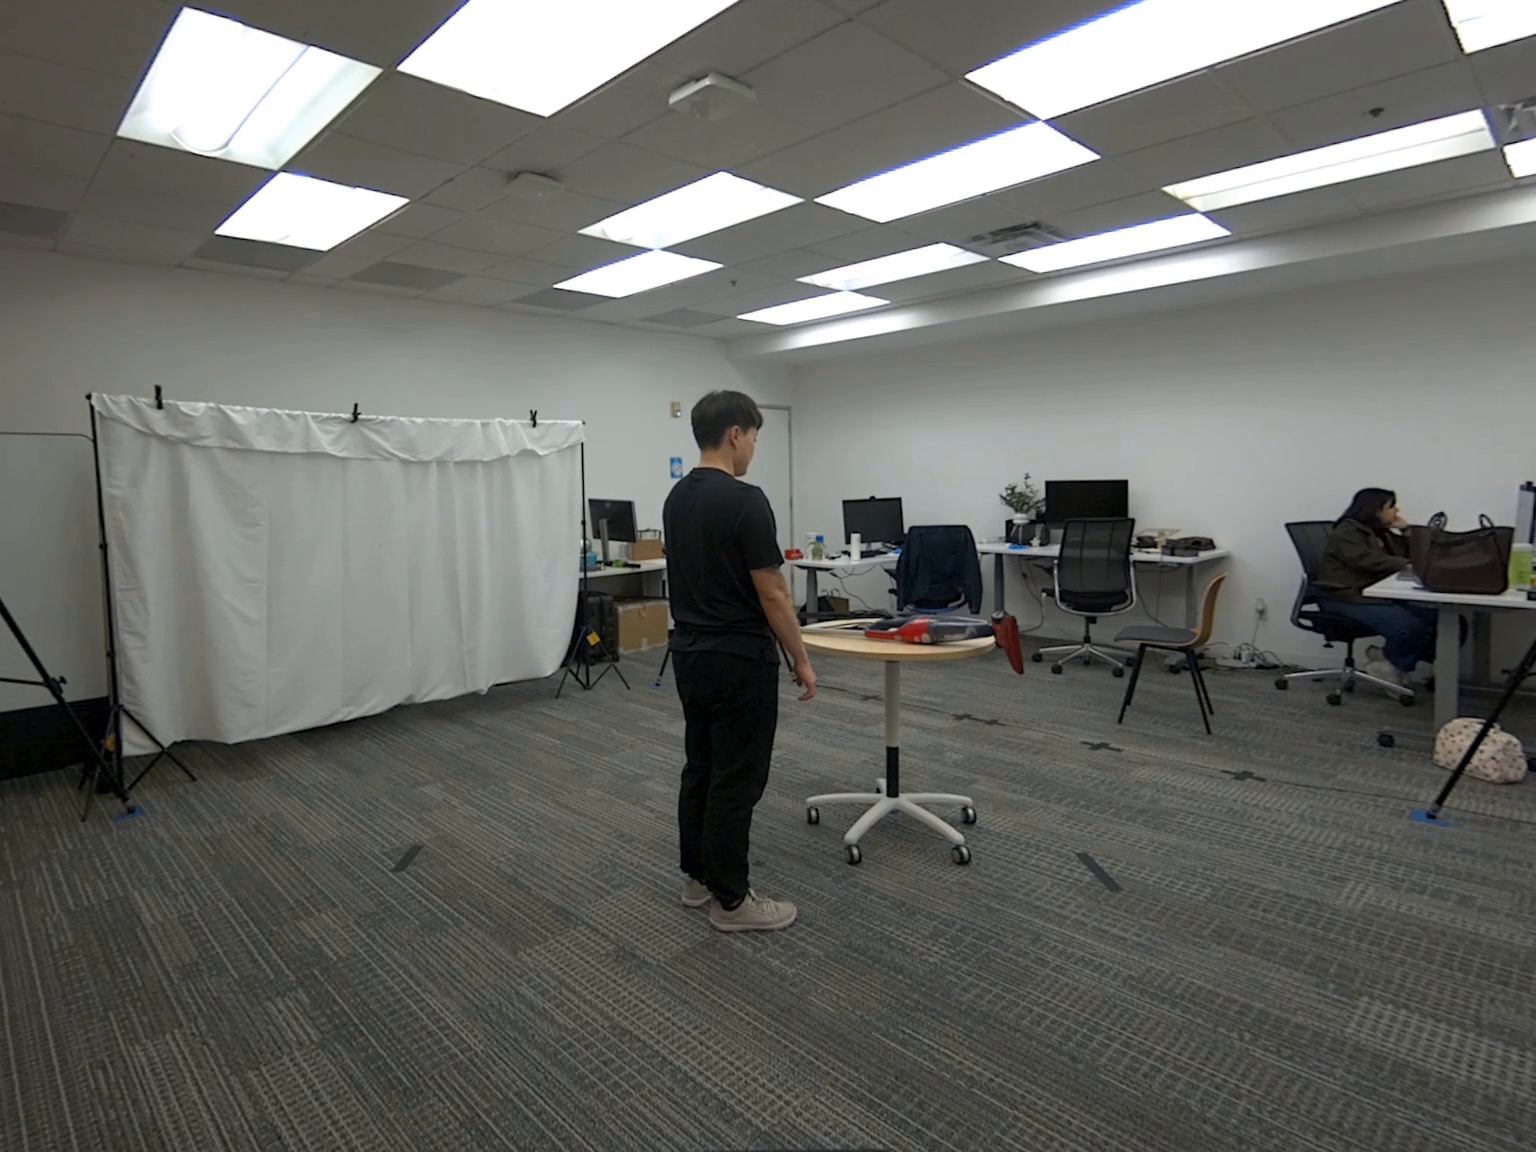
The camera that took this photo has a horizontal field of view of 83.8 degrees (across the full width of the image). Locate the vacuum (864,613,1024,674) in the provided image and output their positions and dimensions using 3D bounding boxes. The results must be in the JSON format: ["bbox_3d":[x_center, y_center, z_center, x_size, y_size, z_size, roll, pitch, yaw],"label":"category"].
[{"bbox_3d":[0.401,0.208,3.249,1.078,0.245,0.144,2,35,32],"label":"vacuum"}]
